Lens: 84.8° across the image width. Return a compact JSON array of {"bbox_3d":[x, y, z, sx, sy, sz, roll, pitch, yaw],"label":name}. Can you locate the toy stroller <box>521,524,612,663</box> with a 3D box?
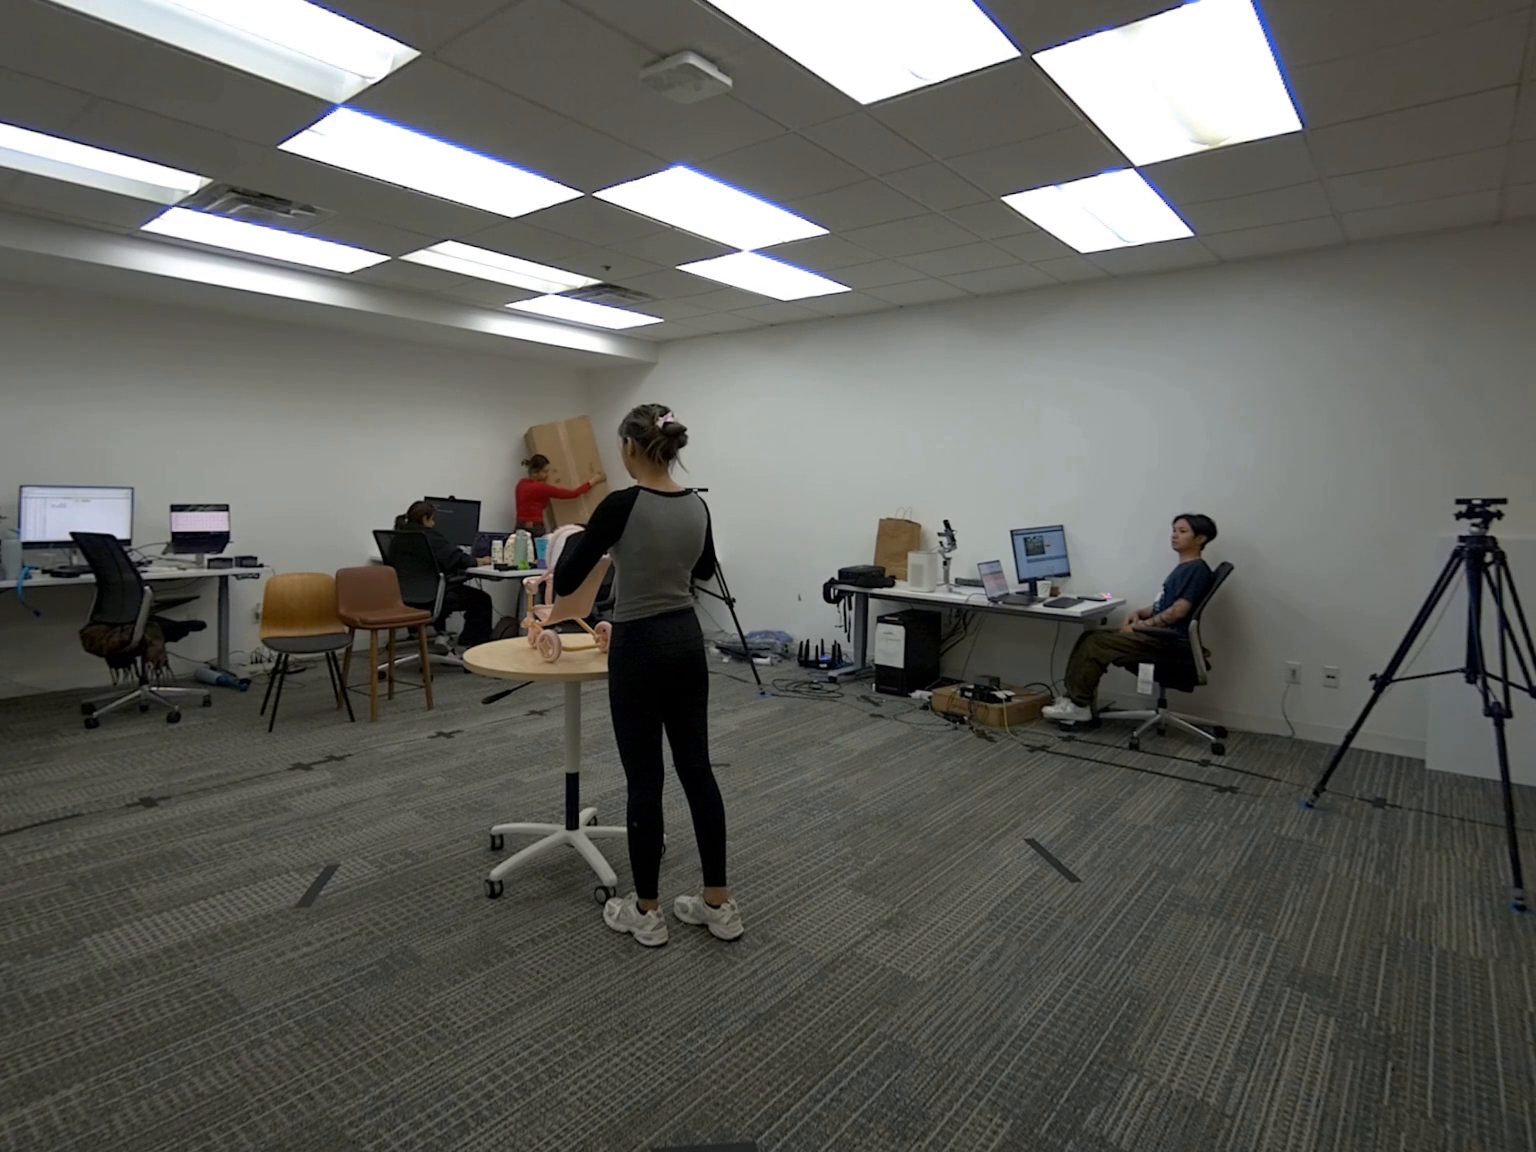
[{"bbox_3d":[-0.723,0.056,3.003,0.273,0.530,0.355,-2,20,-46],"label":"toy stroller"}]
